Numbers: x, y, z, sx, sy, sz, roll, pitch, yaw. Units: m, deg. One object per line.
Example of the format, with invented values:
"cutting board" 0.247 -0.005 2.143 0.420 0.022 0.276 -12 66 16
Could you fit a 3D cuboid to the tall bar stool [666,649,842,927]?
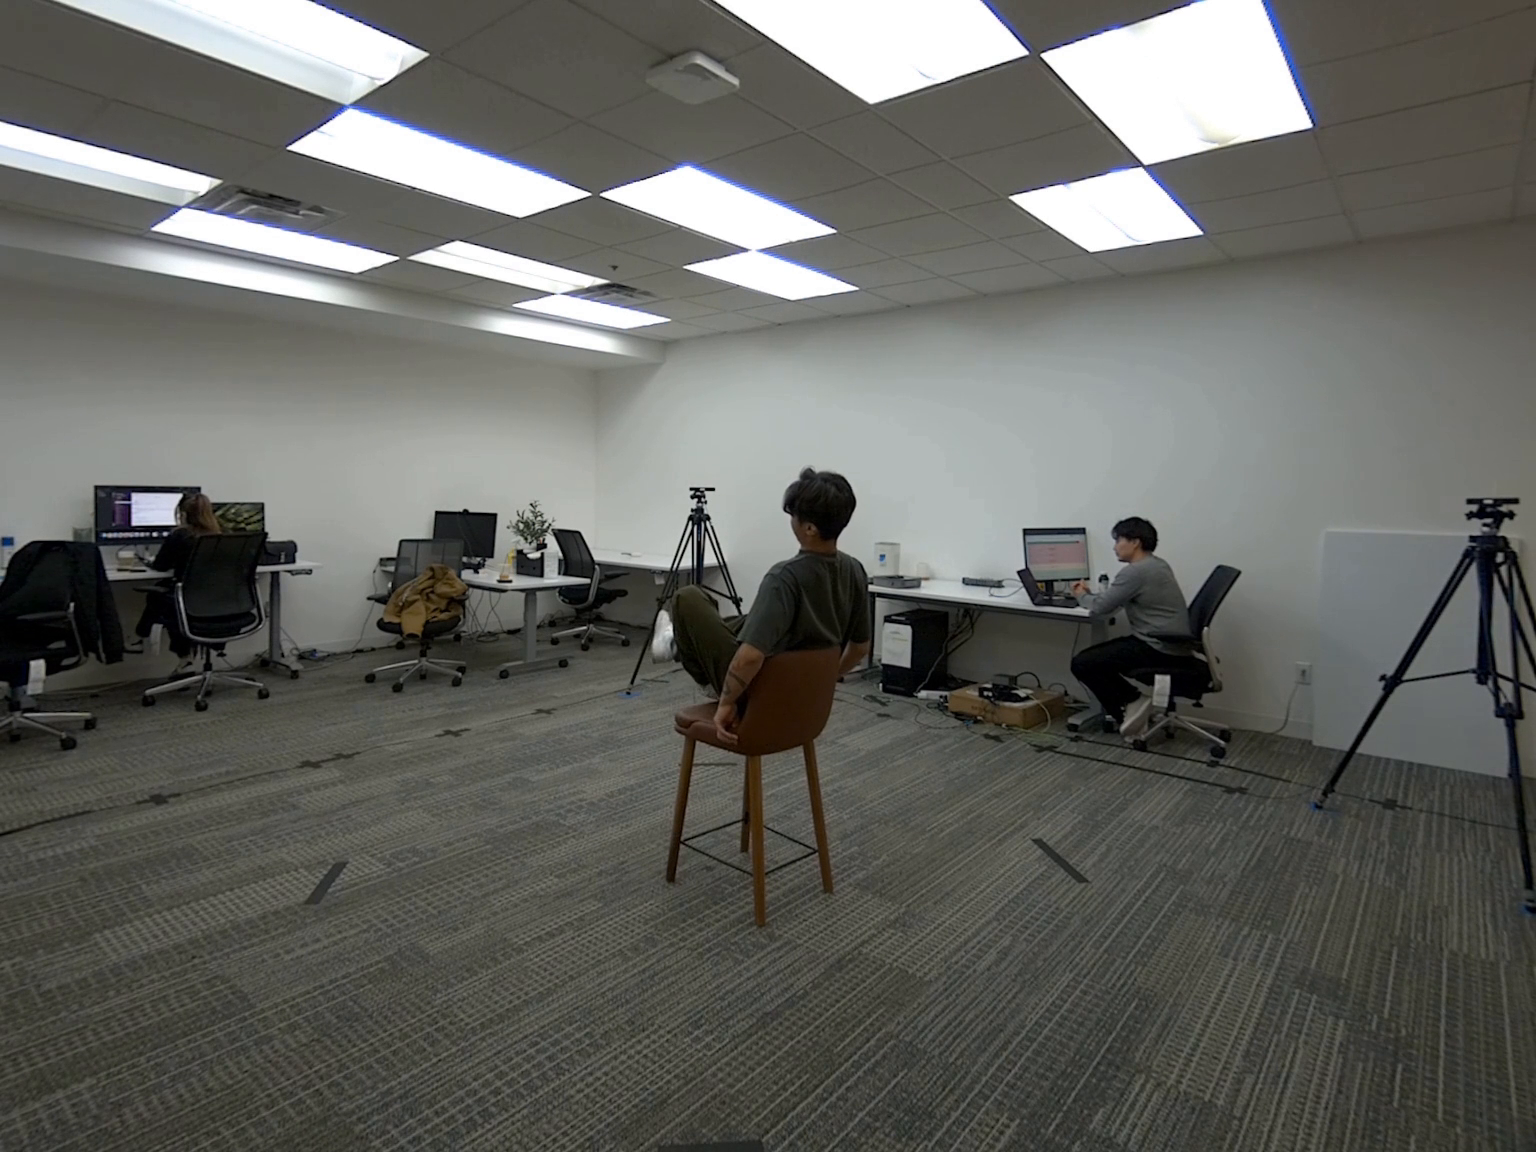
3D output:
"tall bar stool" -0.054 0.648 2.957 0.484 0.886 0.442 7 6 44
